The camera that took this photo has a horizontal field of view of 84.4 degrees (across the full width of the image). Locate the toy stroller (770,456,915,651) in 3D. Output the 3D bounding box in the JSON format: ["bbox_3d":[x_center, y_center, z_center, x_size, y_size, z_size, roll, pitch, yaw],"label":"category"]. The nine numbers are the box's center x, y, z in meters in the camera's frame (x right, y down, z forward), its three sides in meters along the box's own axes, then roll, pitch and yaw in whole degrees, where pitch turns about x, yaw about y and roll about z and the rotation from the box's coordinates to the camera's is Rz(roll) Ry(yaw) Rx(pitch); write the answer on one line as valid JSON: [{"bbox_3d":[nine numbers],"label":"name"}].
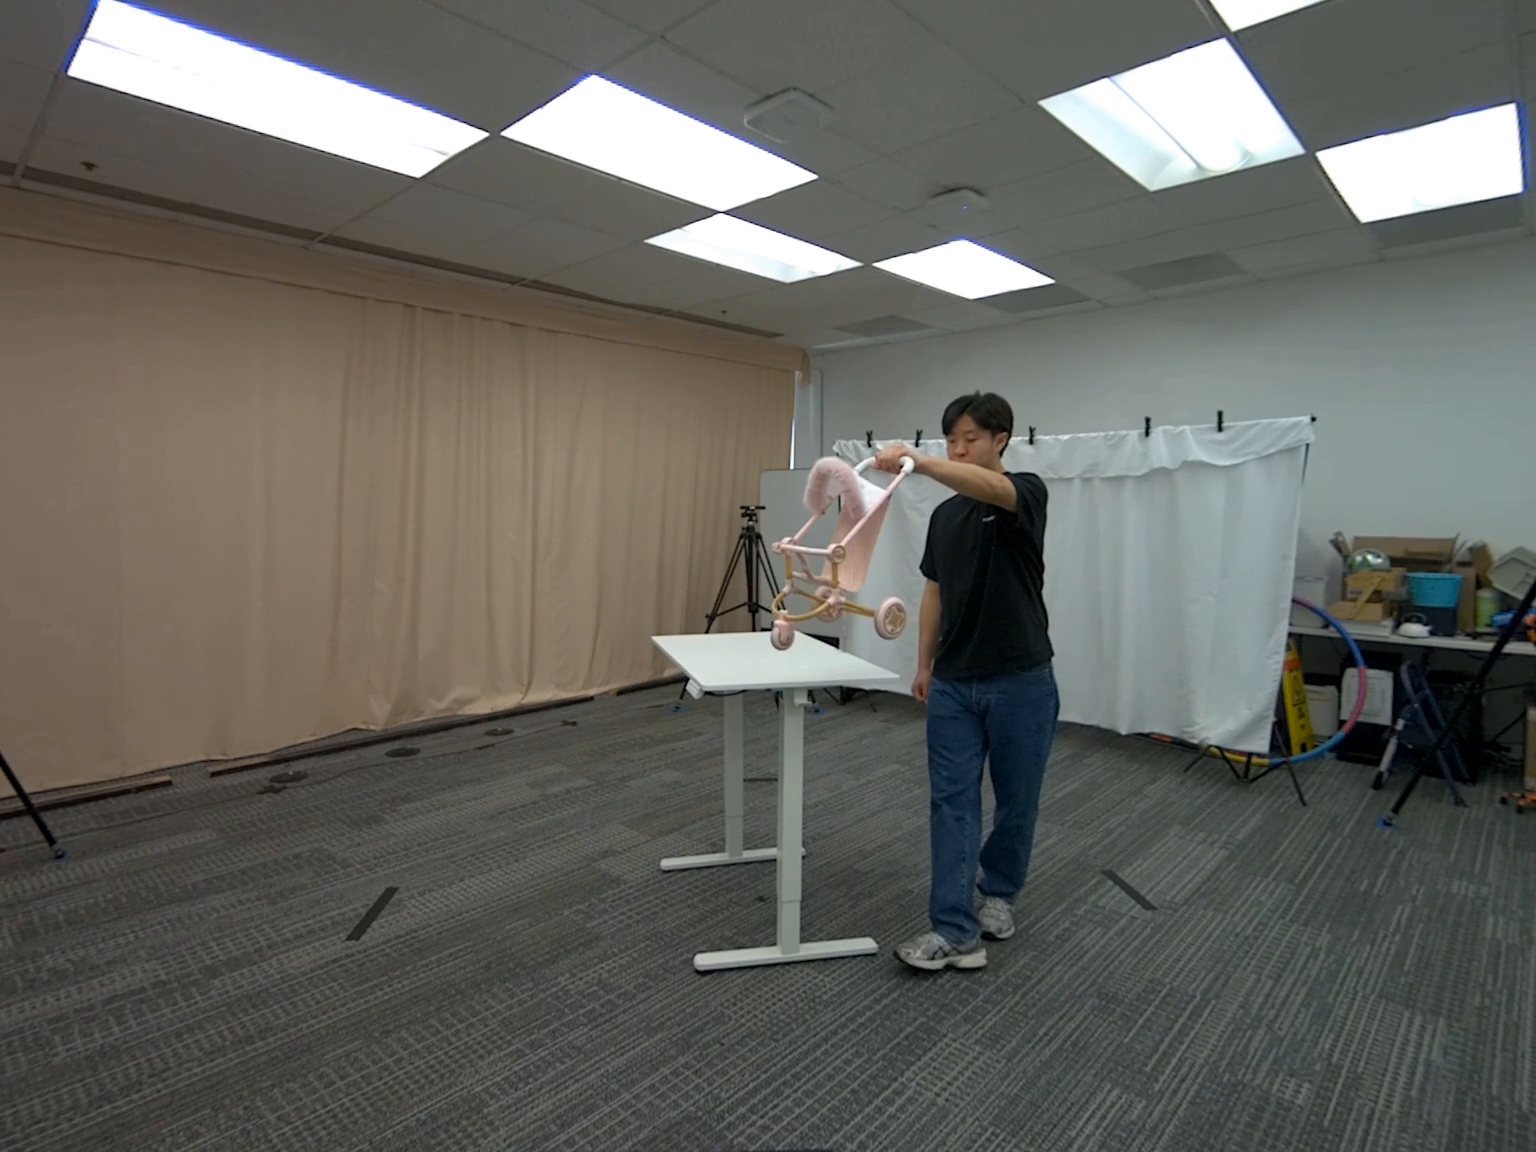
[{"bbox_3d":[0.174,-0.066,2.189,0.331,0.534,0.290,5,3,-31],"label":"toy stroller"}]
